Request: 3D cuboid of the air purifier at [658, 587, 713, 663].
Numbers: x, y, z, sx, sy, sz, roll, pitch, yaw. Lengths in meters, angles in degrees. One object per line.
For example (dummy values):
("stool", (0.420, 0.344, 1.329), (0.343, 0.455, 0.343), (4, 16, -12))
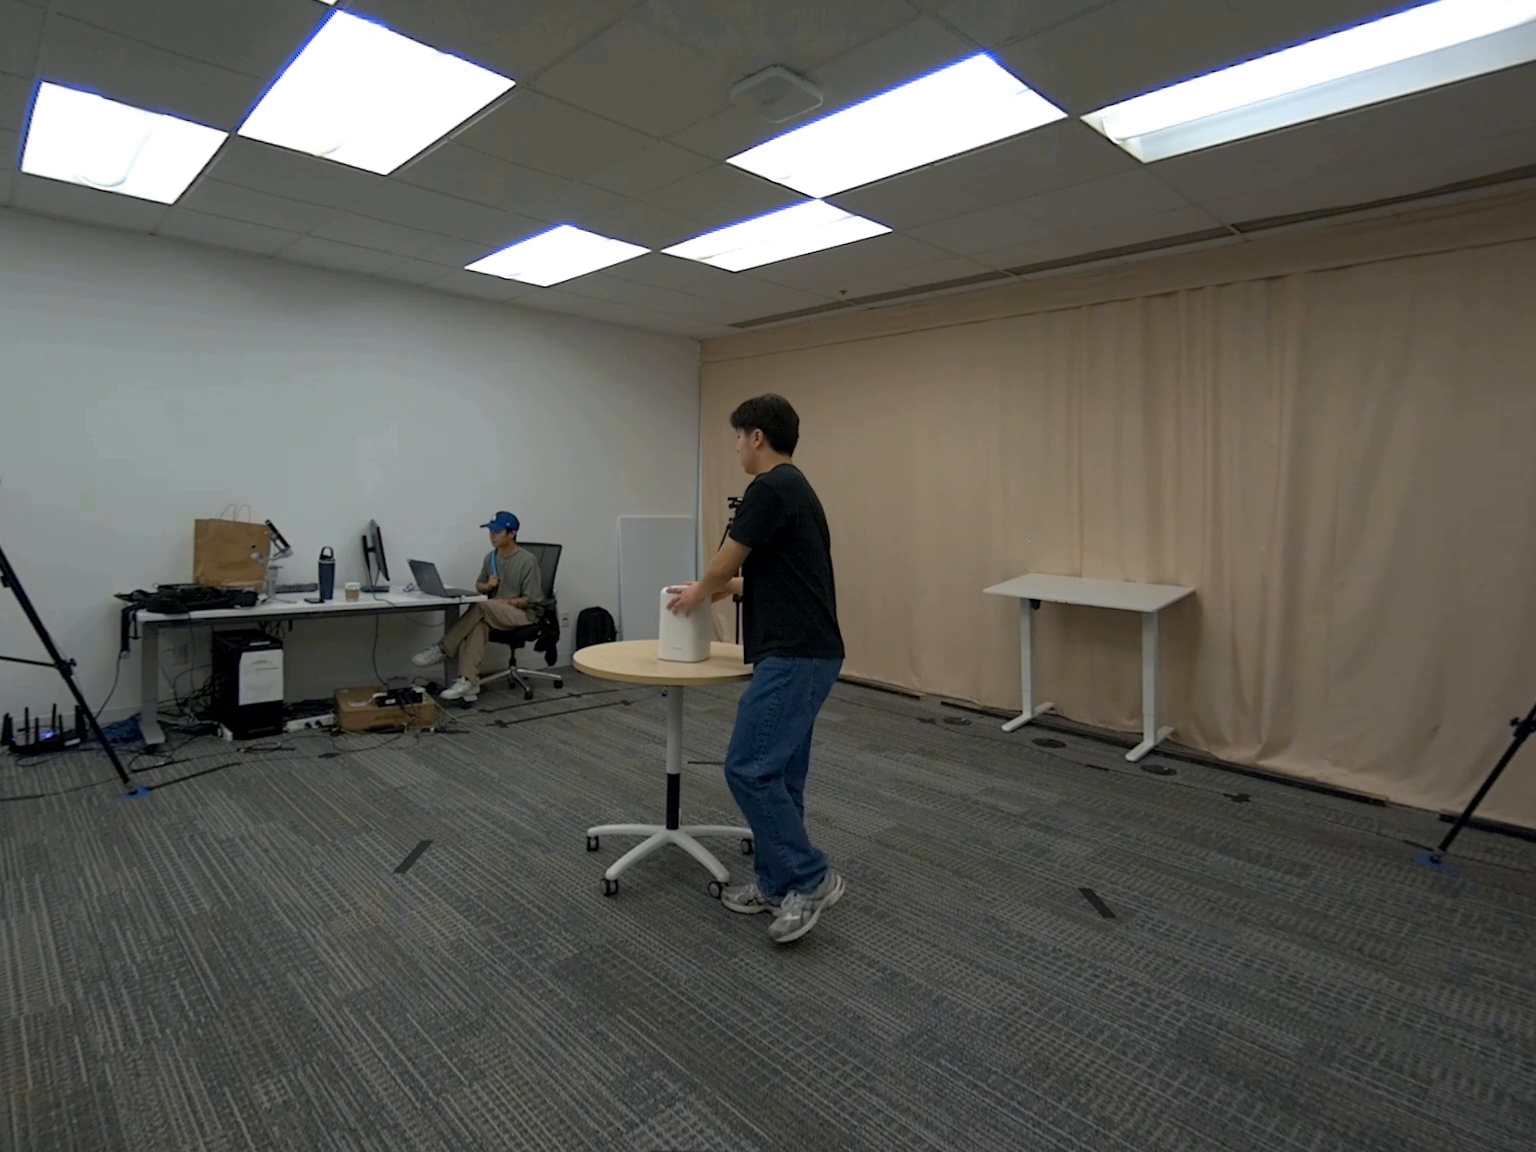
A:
("air purifier", (-0.314, 0.174, 3.122), (0.174, 0.265, 0.169), (2, 4, 19))
